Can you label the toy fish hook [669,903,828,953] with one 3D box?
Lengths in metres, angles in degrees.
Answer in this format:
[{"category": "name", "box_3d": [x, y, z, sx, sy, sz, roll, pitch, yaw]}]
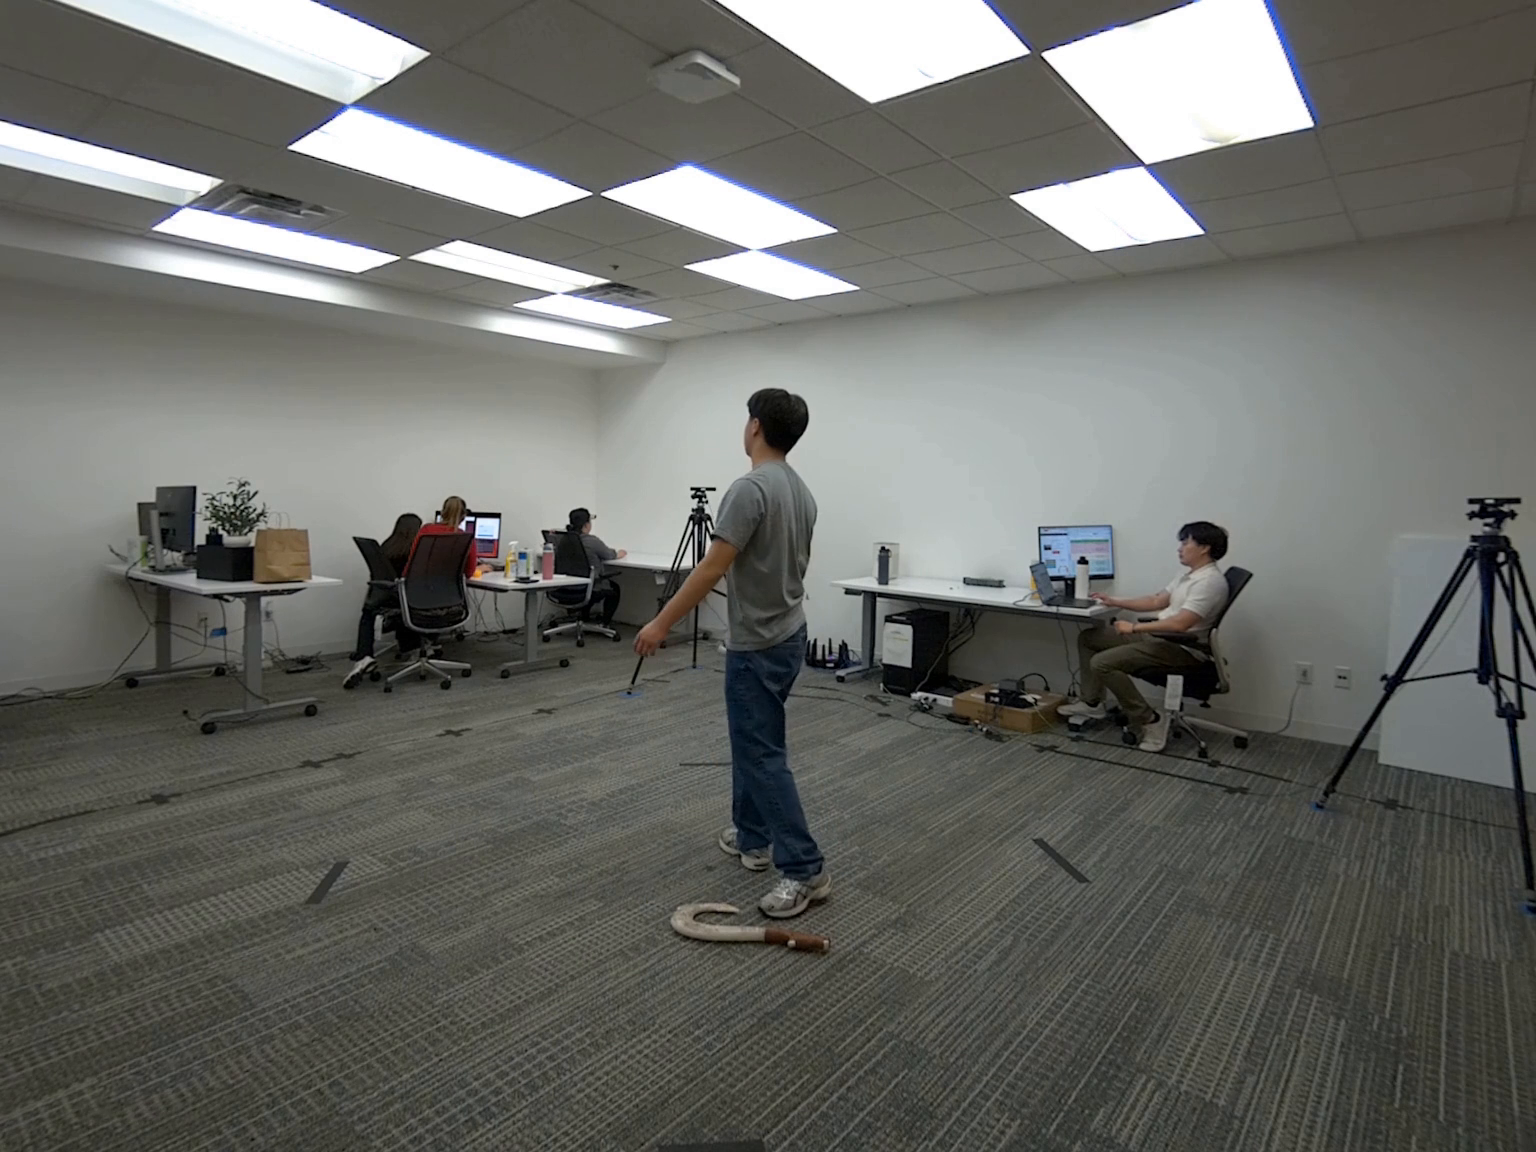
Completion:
[{"category": "toy fish hook", "box_3d": [-0.058, 1.089, 2.665, 0.514, 0.048, 0.222, 3, 7, 12]}]
